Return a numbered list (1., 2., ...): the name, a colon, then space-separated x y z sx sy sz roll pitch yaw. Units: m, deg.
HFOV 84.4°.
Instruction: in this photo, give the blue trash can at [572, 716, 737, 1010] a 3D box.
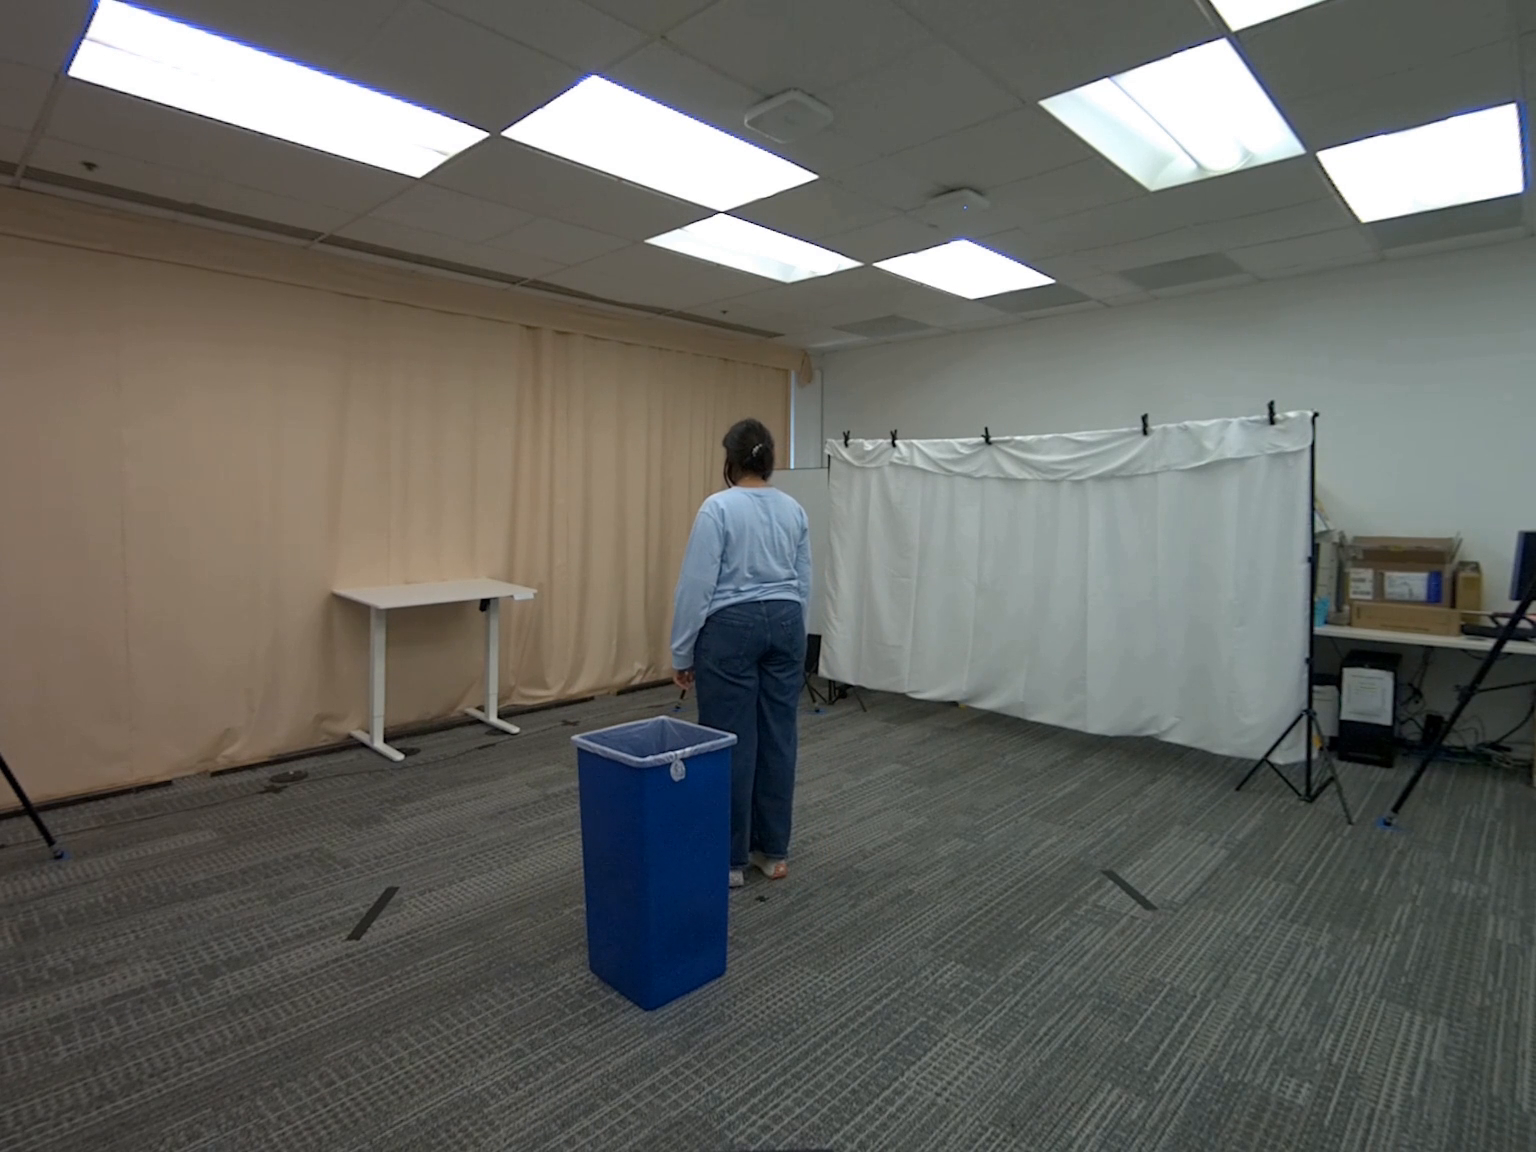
1. blue trash can: -0.341 0.829 2.510 0.366 0.712 0.386 -2 3 -44
